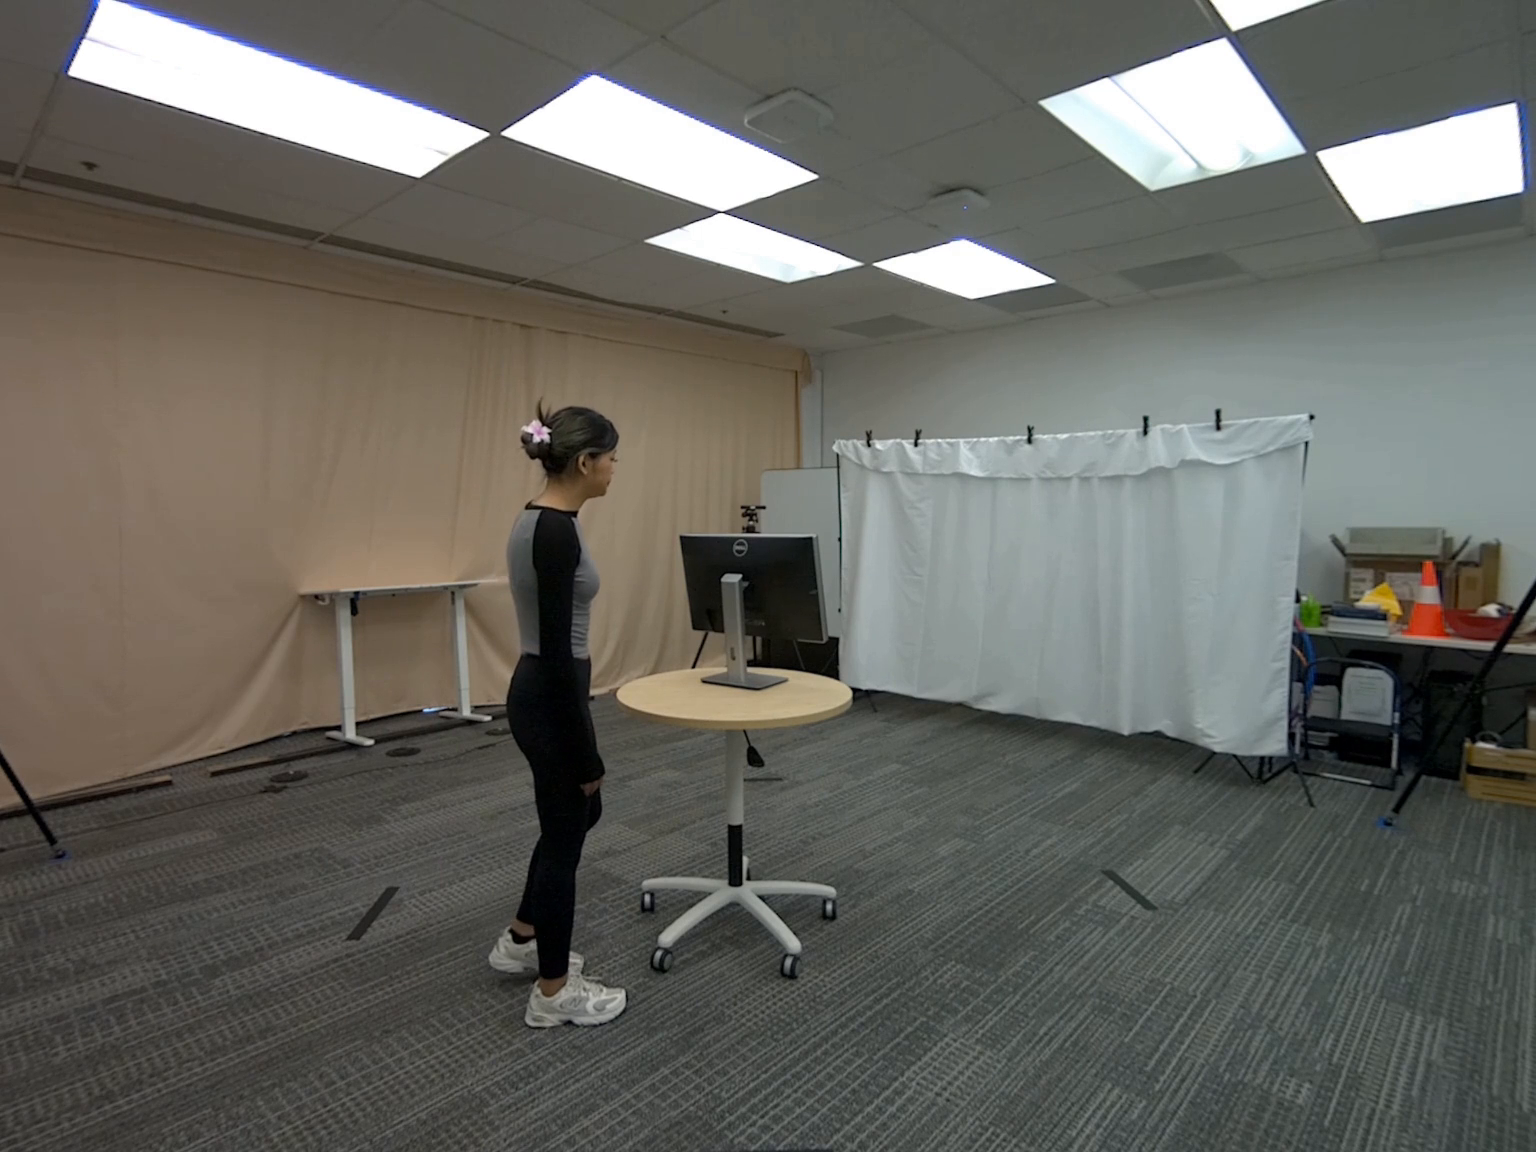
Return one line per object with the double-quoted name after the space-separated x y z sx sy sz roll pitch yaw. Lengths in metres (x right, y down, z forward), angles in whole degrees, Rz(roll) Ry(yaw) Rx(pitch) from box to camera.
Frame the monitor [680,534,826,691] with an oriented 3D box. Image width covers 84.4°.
-0.074 0.117 2.881 0.546 0.517 0.169 1 -4 35 "monitor"
